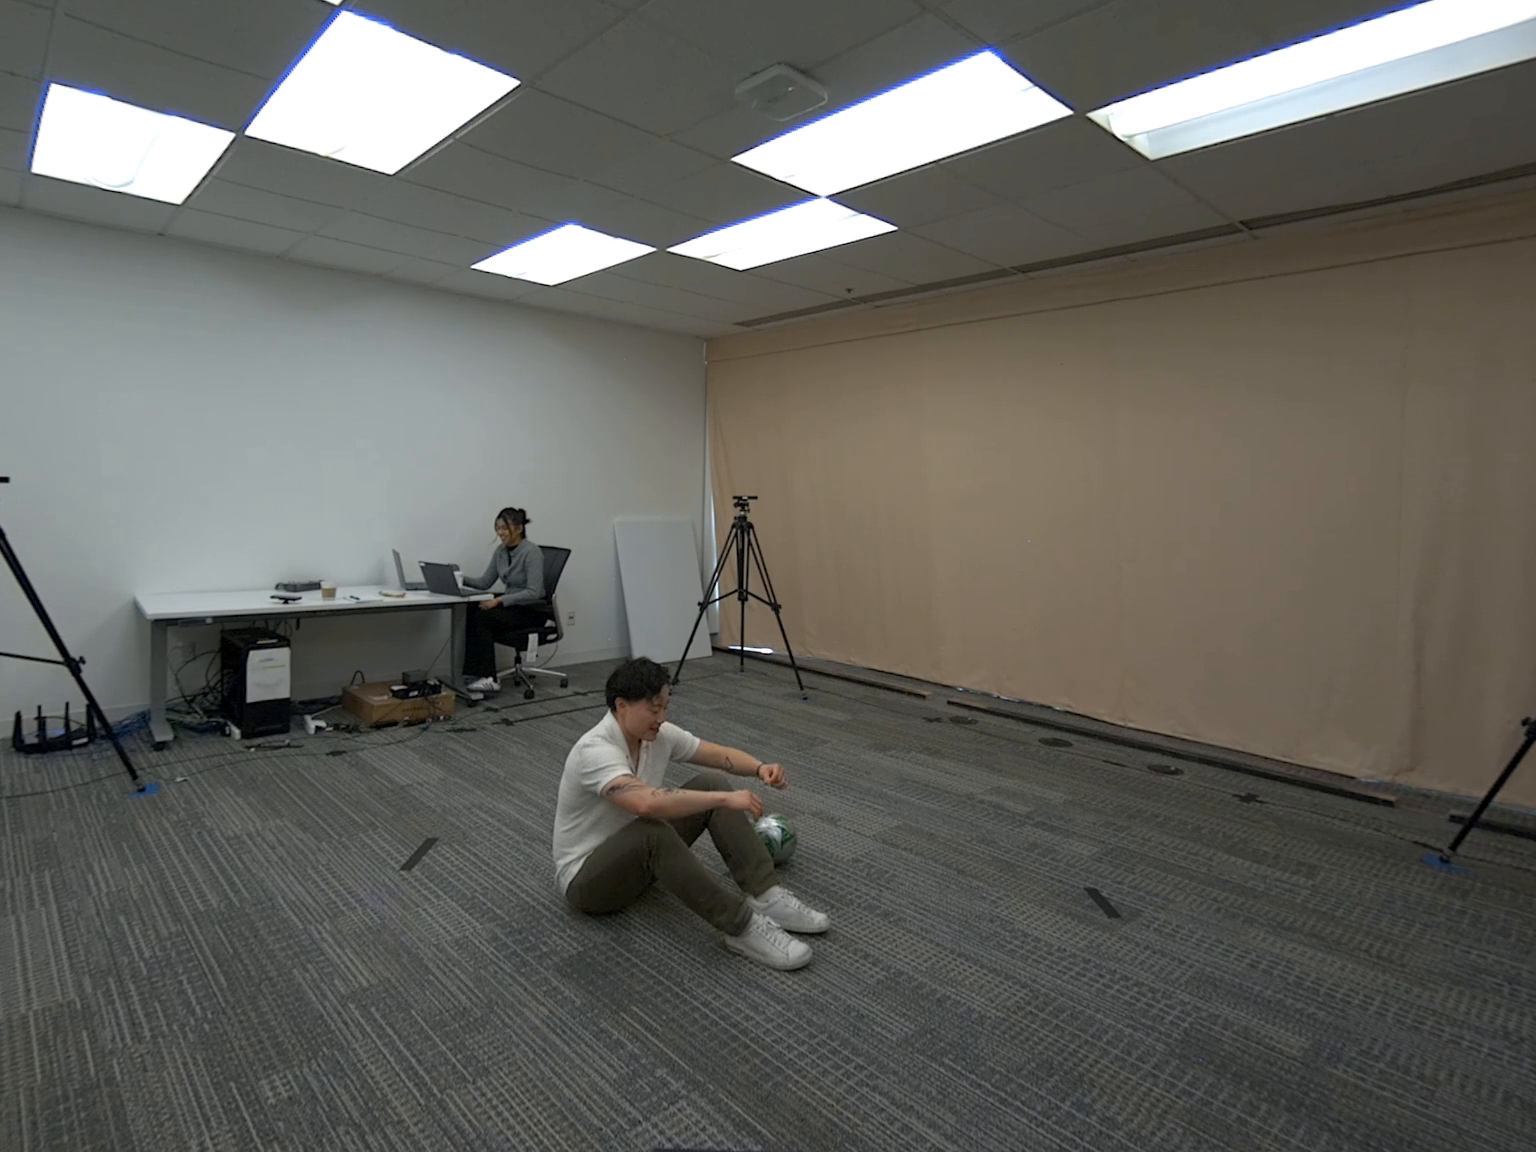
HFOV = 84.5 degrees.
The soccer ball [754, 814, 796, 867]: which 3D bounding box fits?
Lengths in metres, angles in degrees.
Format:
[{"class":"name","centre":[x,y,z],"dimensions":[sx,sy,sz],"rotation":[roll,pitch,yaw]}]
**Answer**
[{"class":"soccer ball","centre":[0.004,1.003,3.204],"dimensions":[0.187,0.187,0.188],"rotation":[1,4,-1]}]
